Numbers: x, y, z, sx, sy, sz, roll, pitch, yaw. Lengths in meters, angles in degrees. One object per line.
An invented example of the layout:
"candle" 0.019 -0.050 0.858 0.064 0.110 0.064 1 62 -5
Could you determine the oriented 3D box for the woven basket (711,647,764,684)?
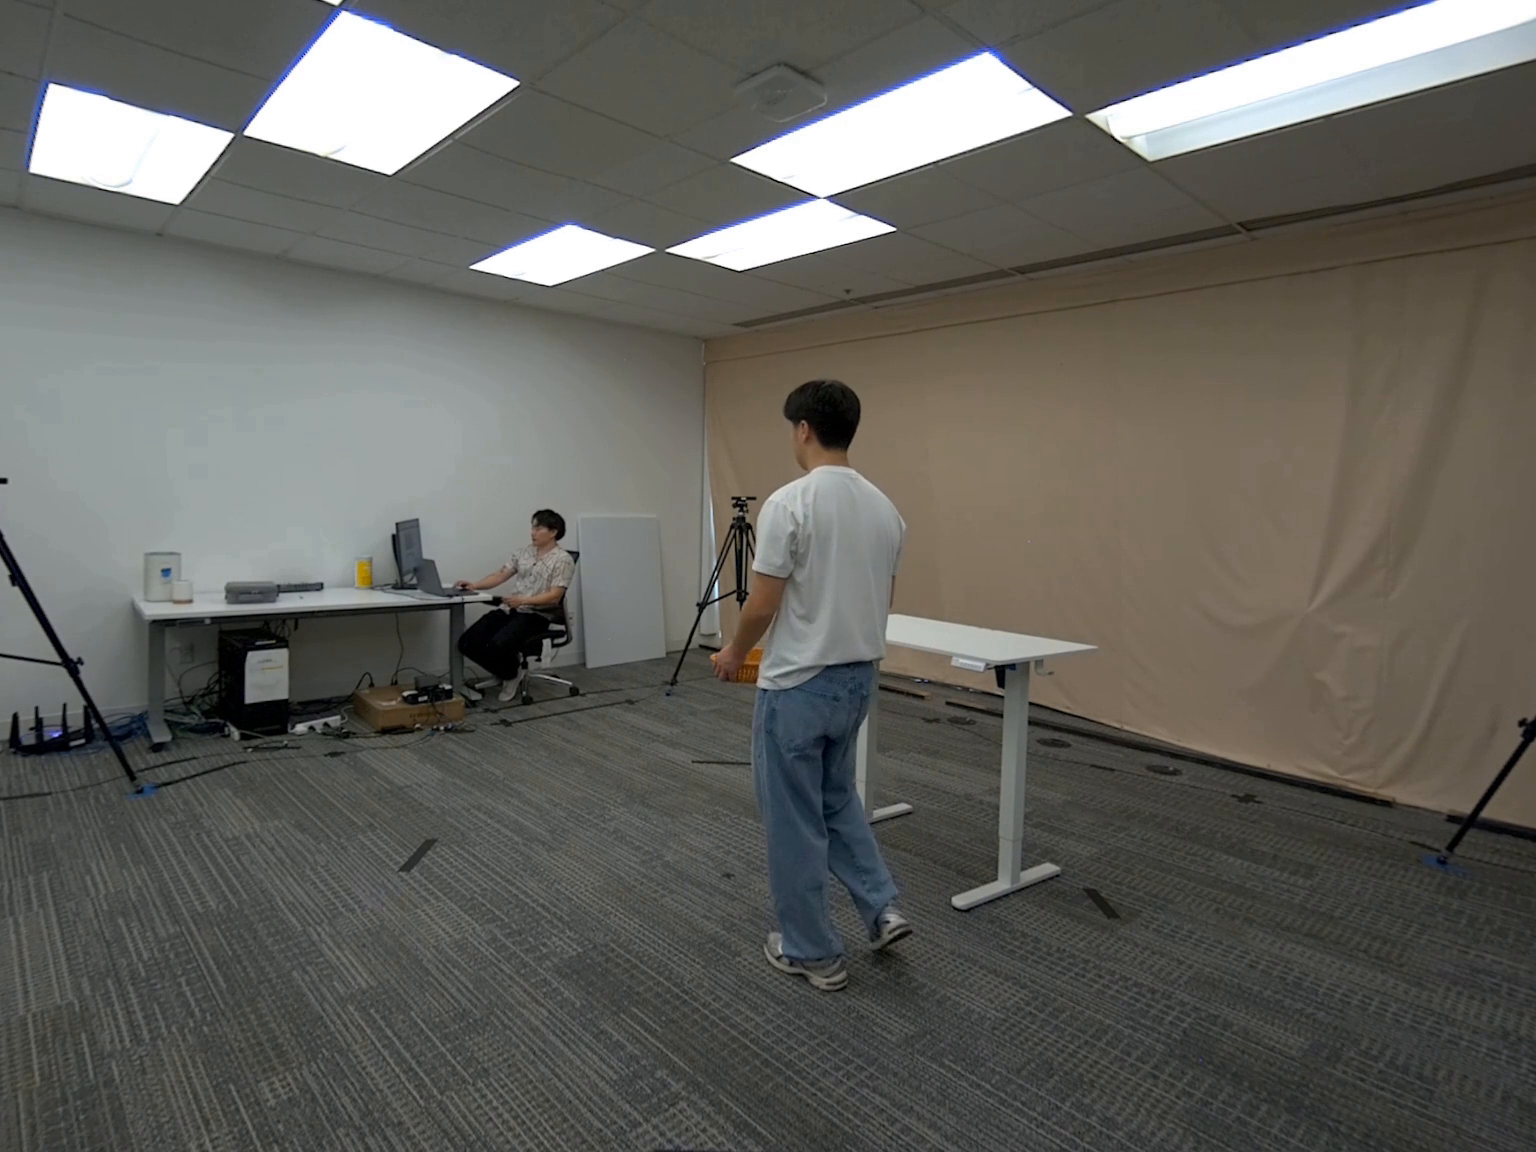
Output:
"woven basket" -0.005 0.298 2.679 0.342 0.073 0.259 -3 6 -41
